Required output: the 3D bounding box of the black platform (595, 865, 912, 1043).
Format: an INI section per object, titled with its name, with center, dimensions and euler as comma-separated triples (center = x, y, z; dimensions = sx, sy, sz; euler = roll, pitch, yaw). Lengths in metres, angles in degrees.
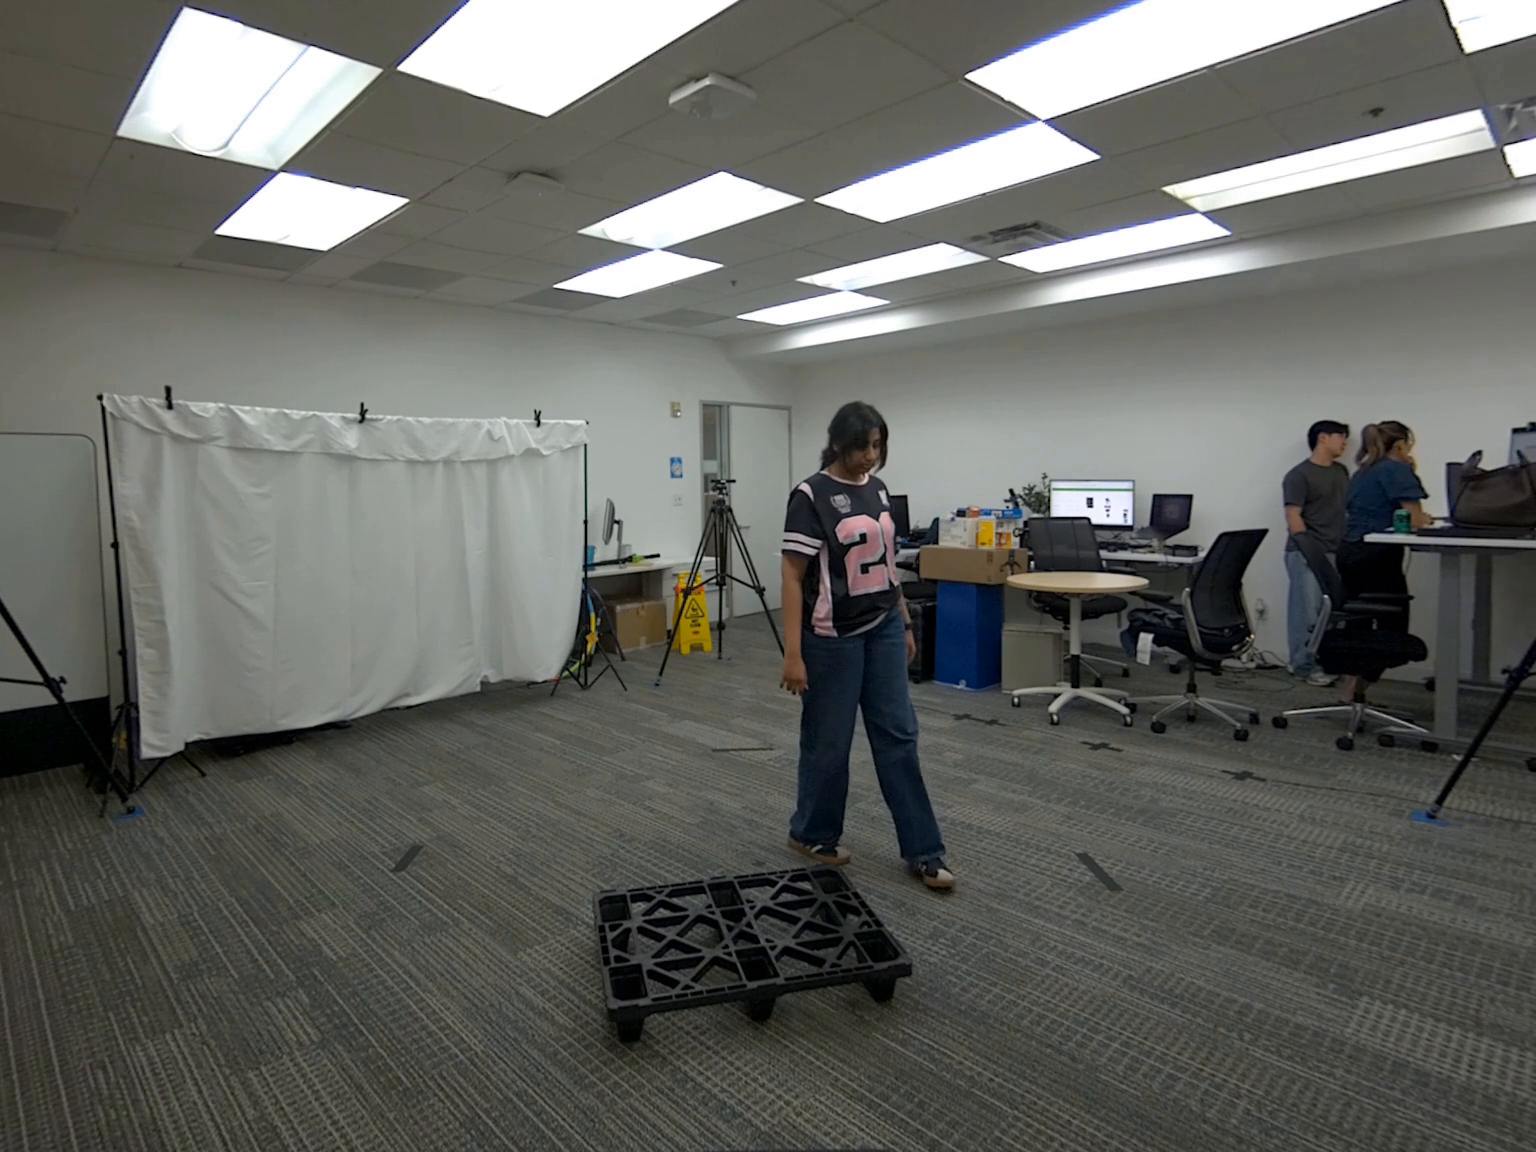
[black platform]
center = -0.079, 1.059, 2.438
dimensions = 0.796, 0.143, 0.615
euler = -2, 6, -13
